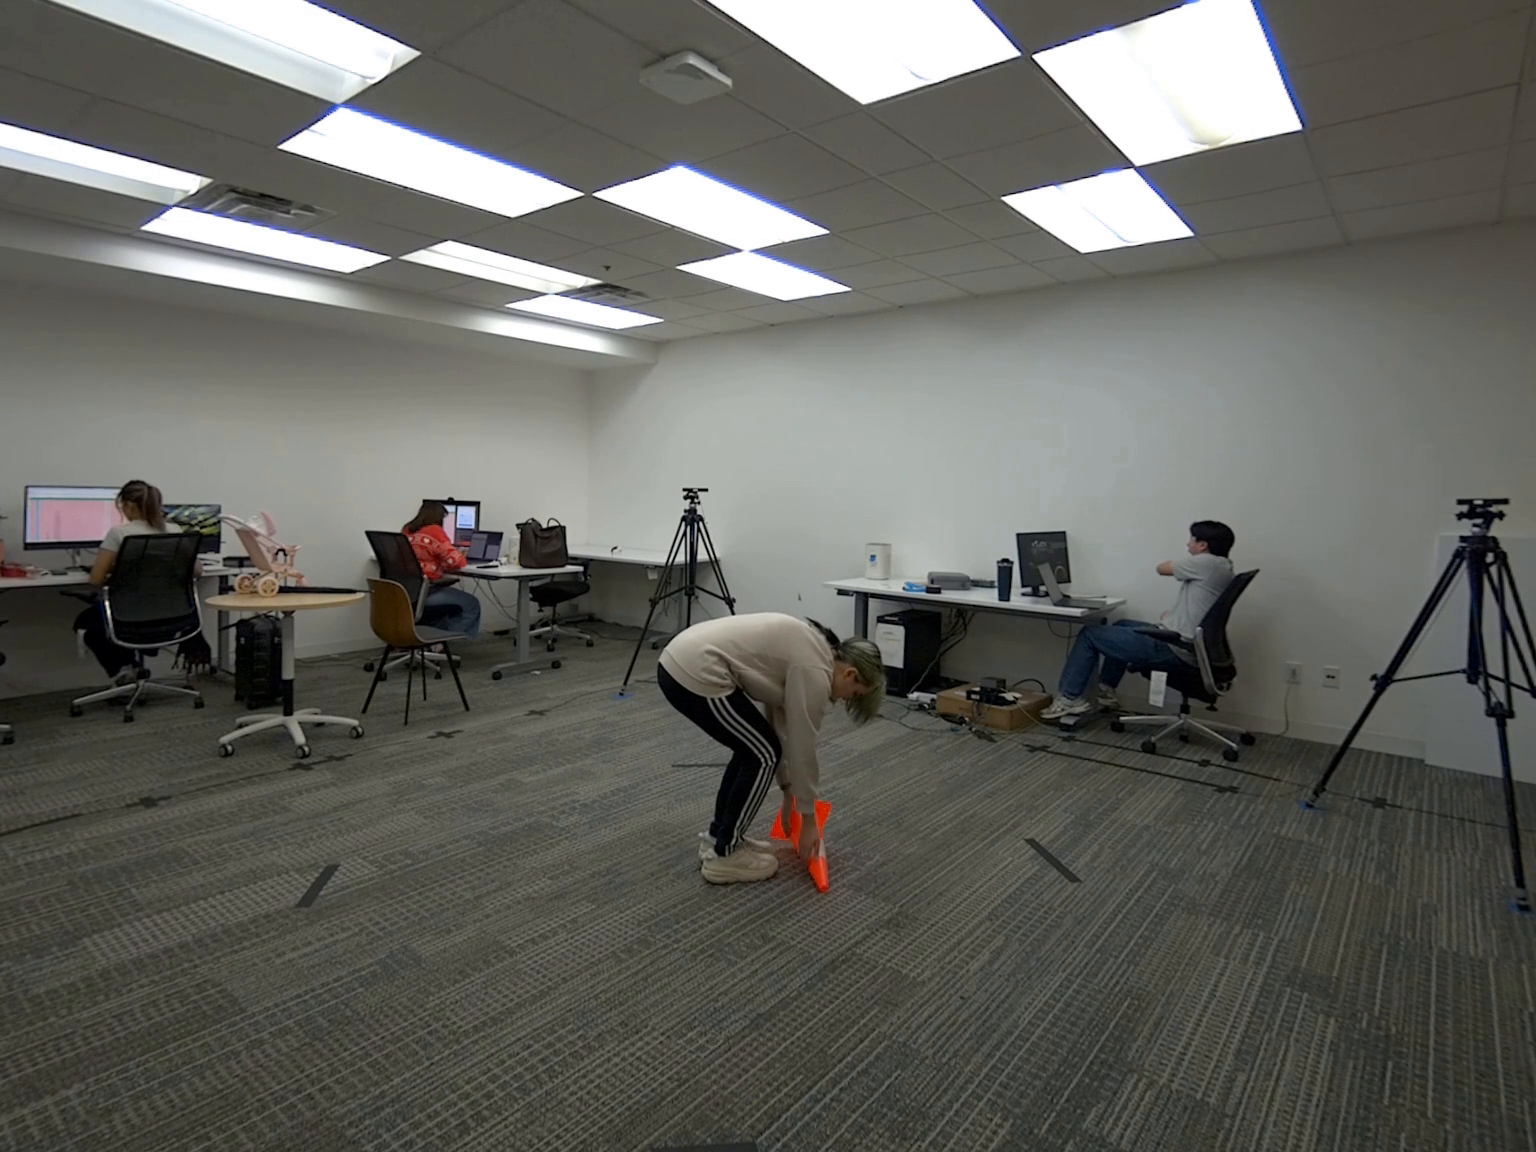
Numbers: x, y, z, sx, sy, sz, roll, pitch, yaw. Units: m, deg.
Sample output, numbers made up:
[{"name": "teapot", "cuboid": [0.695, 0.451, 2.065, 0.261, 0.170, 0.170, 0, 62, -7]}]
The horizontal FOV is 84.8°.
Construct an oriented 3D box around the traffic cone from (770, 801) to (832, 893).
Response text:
[{"name": "traffic cone", "cuboid": [0.164, 1.019, 3.125, 0.201, 0.202, 0.395, 15, 17, -18]}]
